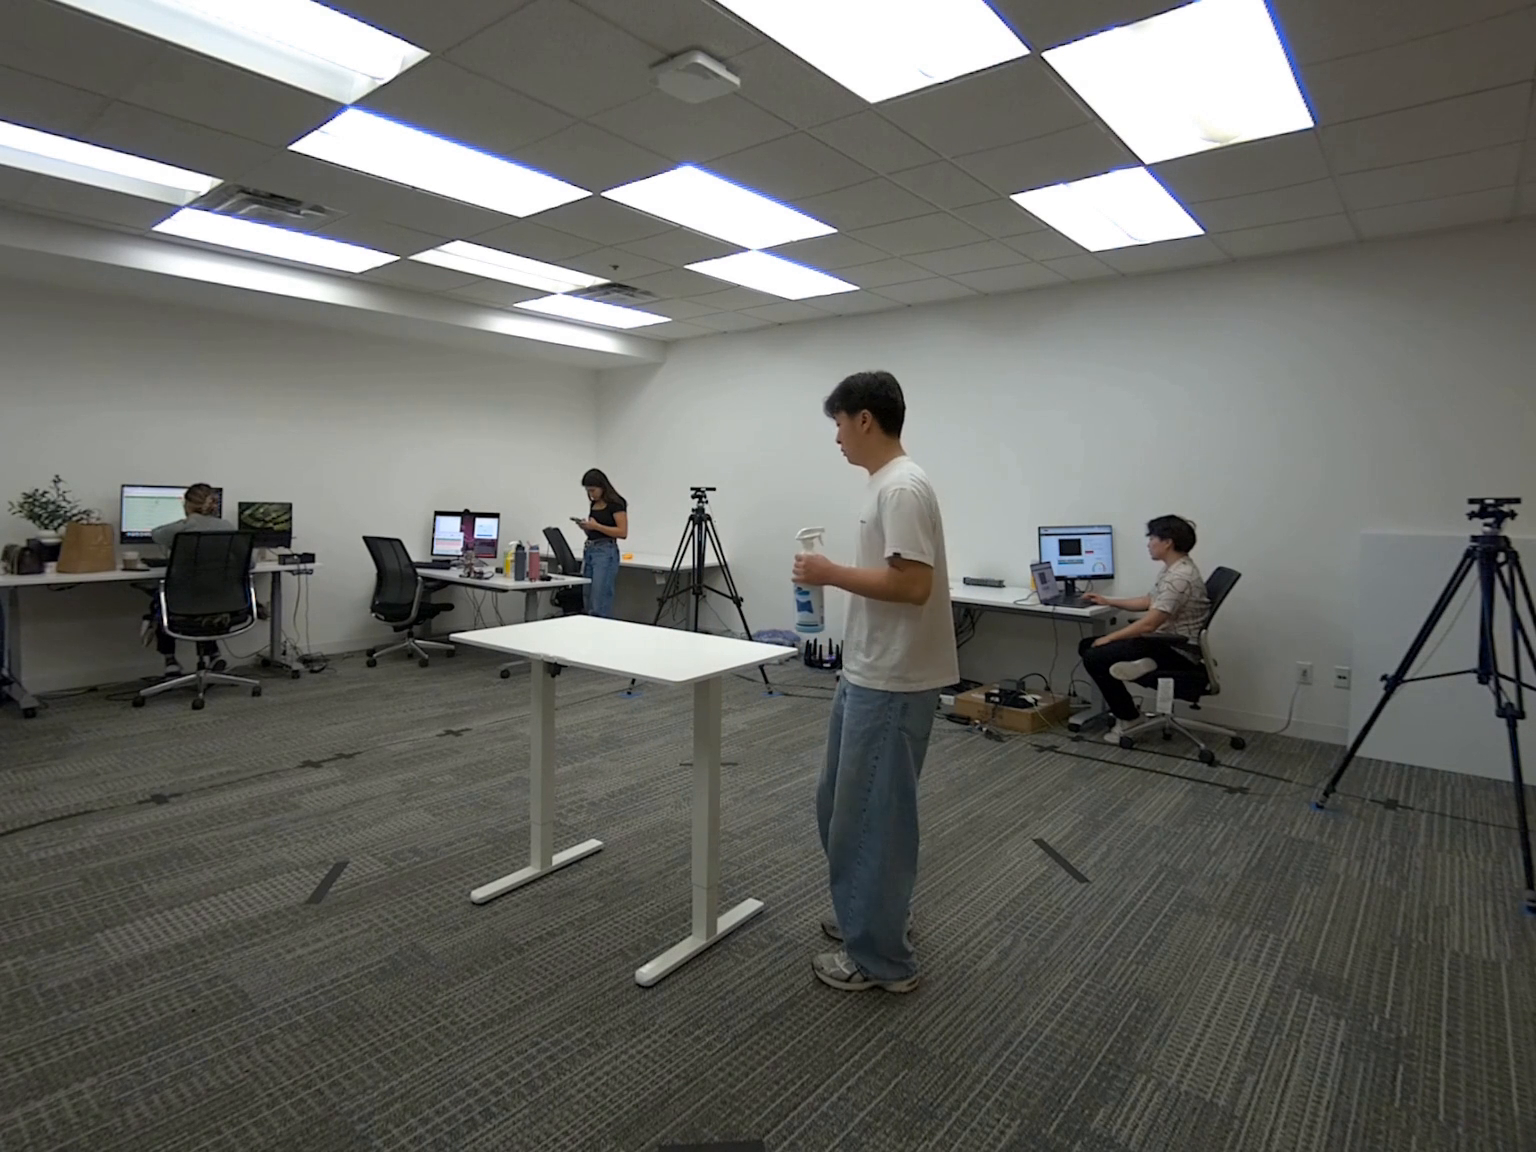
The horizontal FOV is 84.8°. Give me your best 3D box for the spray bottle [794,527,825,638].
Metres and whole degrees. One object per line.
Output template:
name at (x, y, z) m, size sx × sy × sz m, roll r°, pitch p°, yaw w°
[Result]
spray bottle at (0.122, 0.009, 2.431) m, size 0.090 × 0.296 × 0.087 m, roll 1°, pitch 4°, yaw 1°
